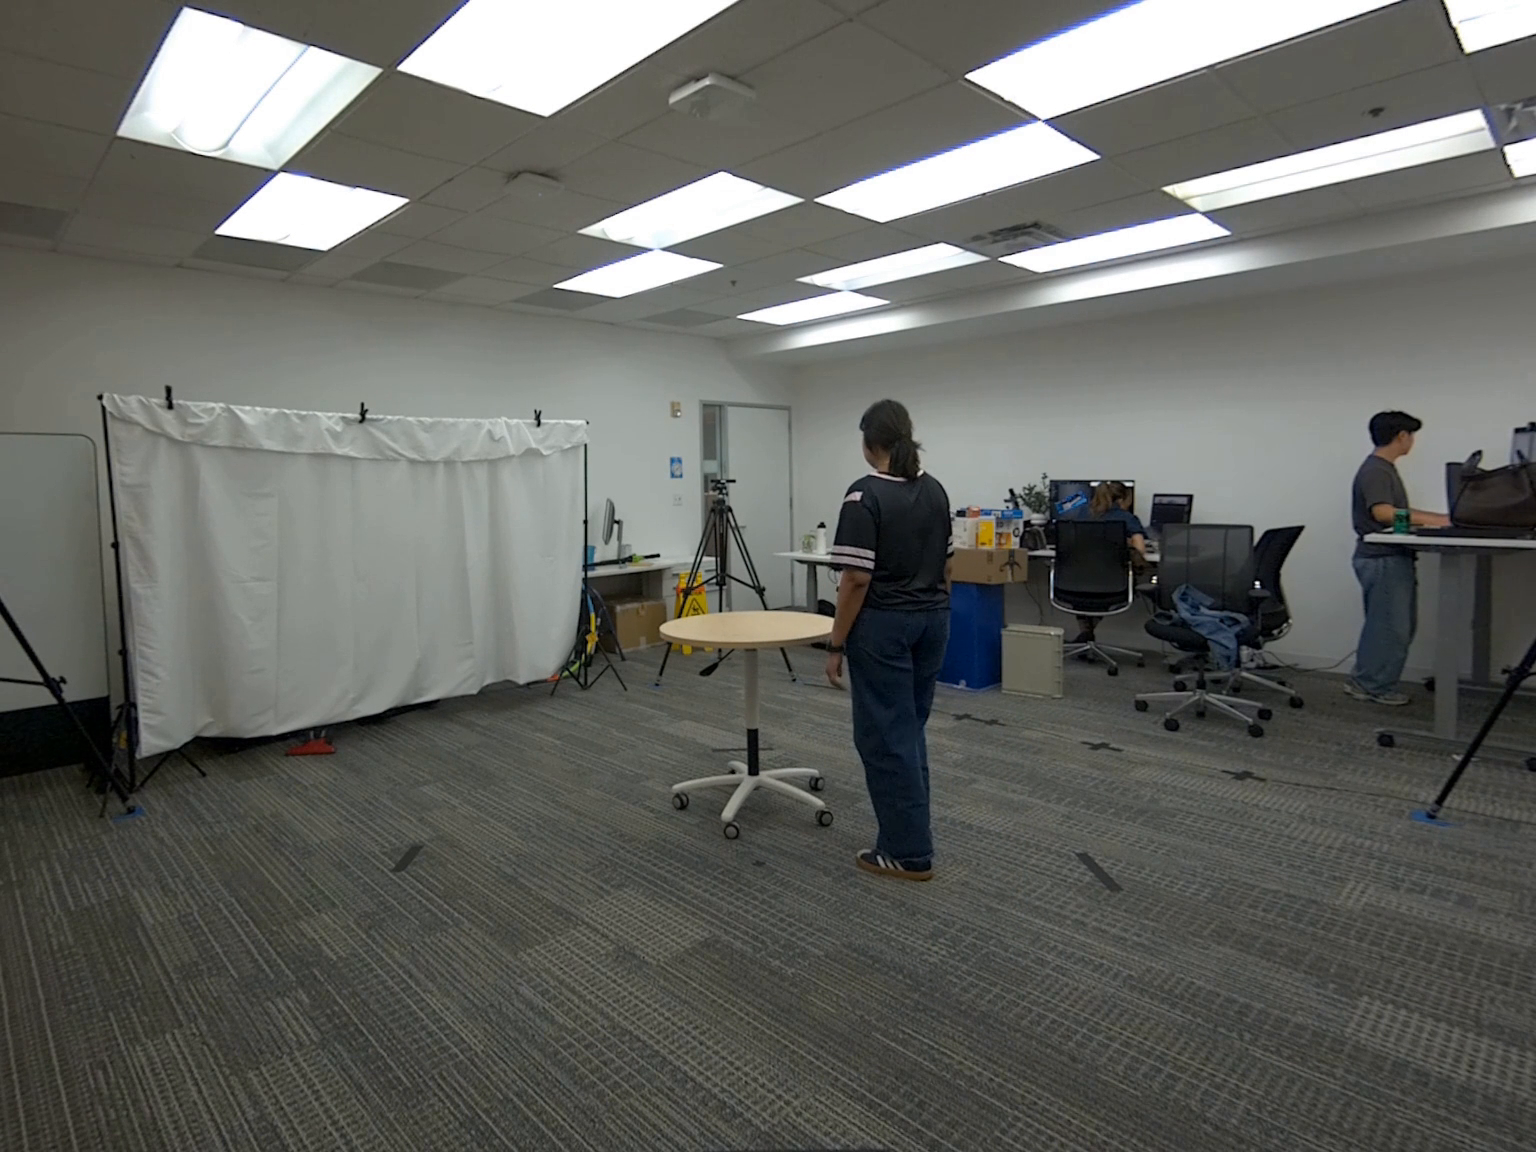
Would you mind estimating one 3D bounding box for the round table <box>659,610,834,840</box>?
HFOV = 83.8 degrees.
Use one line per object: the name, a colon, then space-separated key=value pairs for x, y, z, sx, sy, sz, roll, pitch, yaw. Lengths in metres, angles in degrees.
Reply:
round table: x=-0.057 y=0.600 z=3.632 sx=0.763 sy=0.791 sz=0.767 roll=-1 pitch=4 yaw=-2
